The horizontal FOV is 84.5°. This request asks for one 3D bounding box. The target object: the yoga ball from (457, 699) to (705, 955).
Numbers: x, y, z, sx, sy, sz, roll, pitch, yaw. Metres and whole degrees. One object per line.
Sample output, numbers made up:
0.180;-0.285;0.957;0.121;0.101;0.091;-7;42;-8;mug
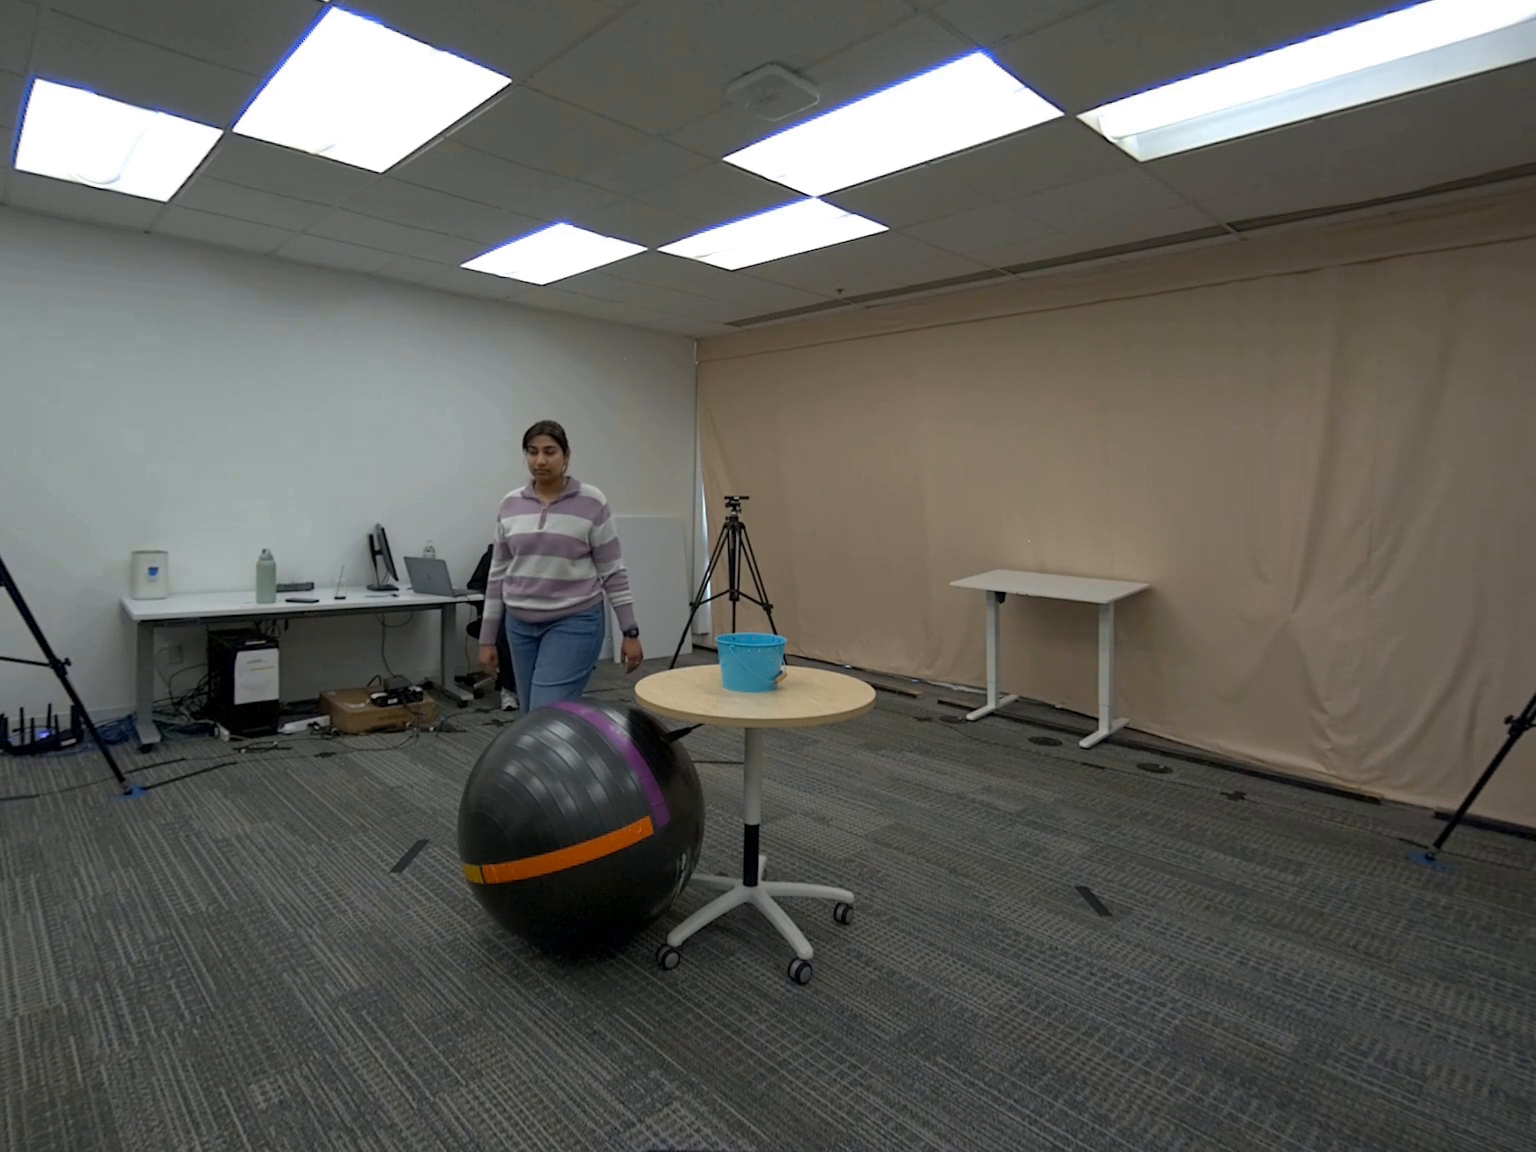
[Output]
-0.585;0.766;2.633;0.757;0.756;0.761;1;4;-1;yoga ball
